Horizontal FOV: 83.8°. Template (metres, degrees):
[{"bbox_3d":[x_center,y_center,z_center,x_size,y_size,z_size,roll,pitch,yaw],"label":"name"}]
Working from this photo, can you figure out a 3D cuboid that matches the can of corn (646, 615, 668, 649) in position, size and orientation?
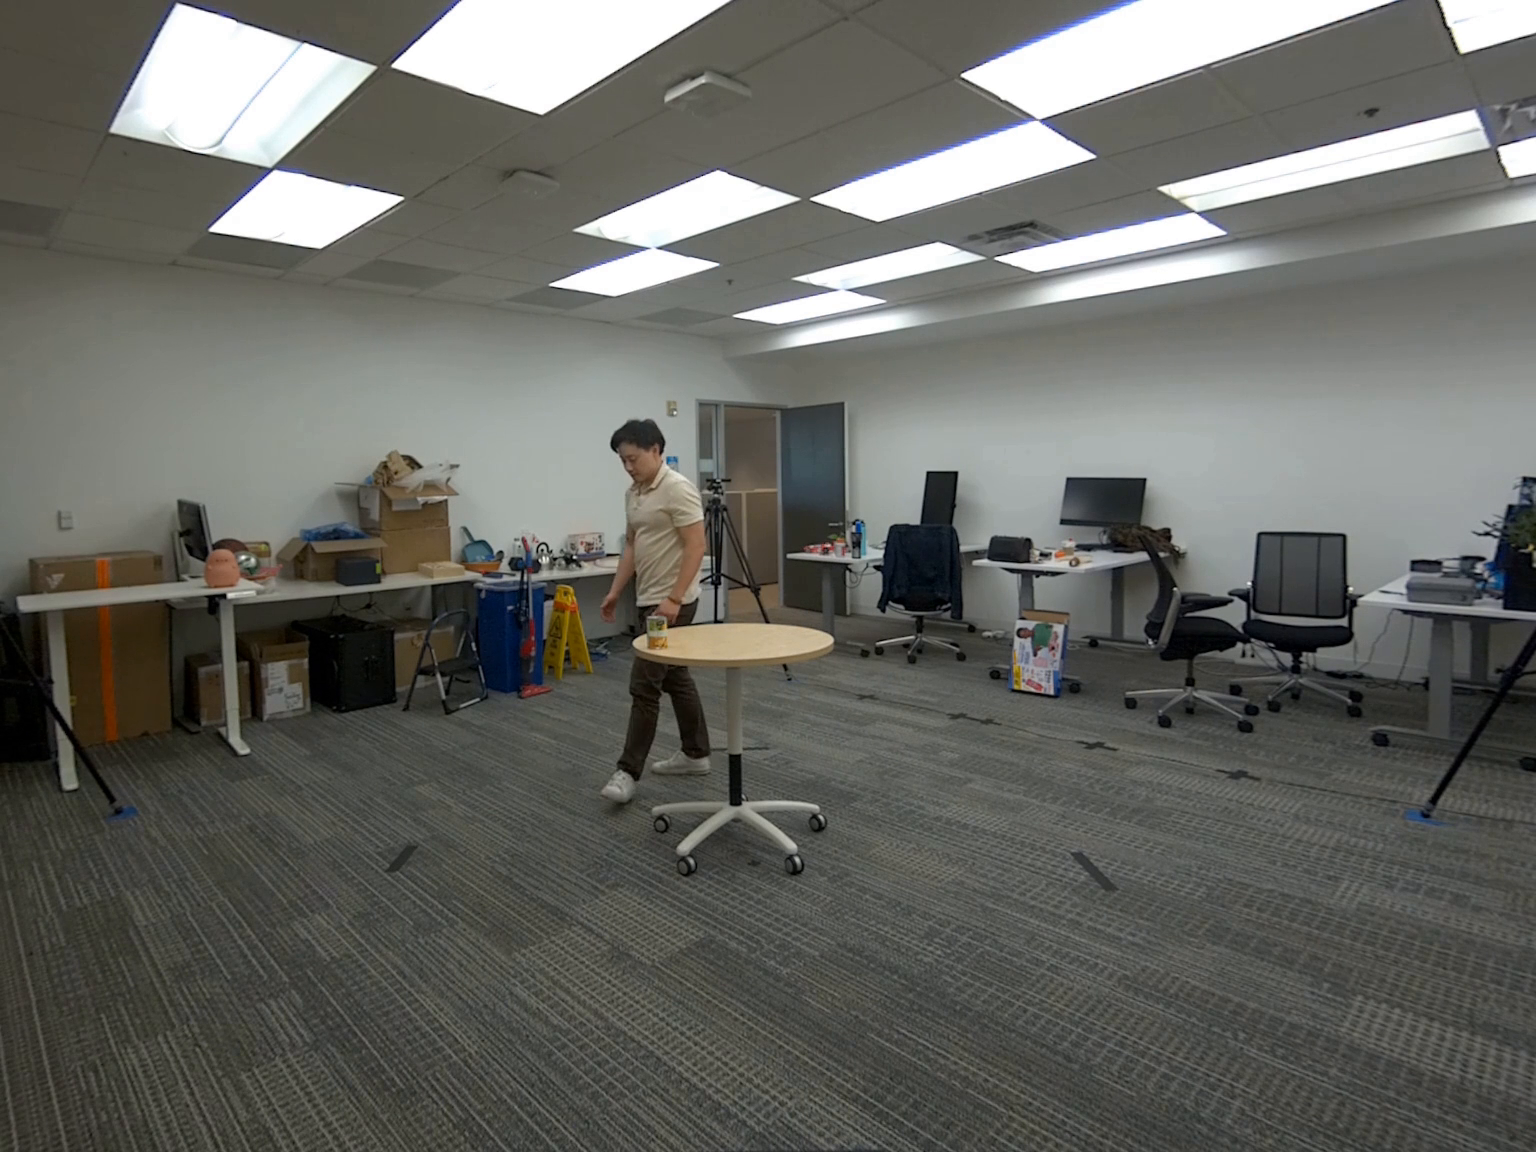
[{"bbox_3d":[-0.411,0.209,3.131,0.074,0.111,0.074,-2,4,-2],"label":"can of corn"}]
